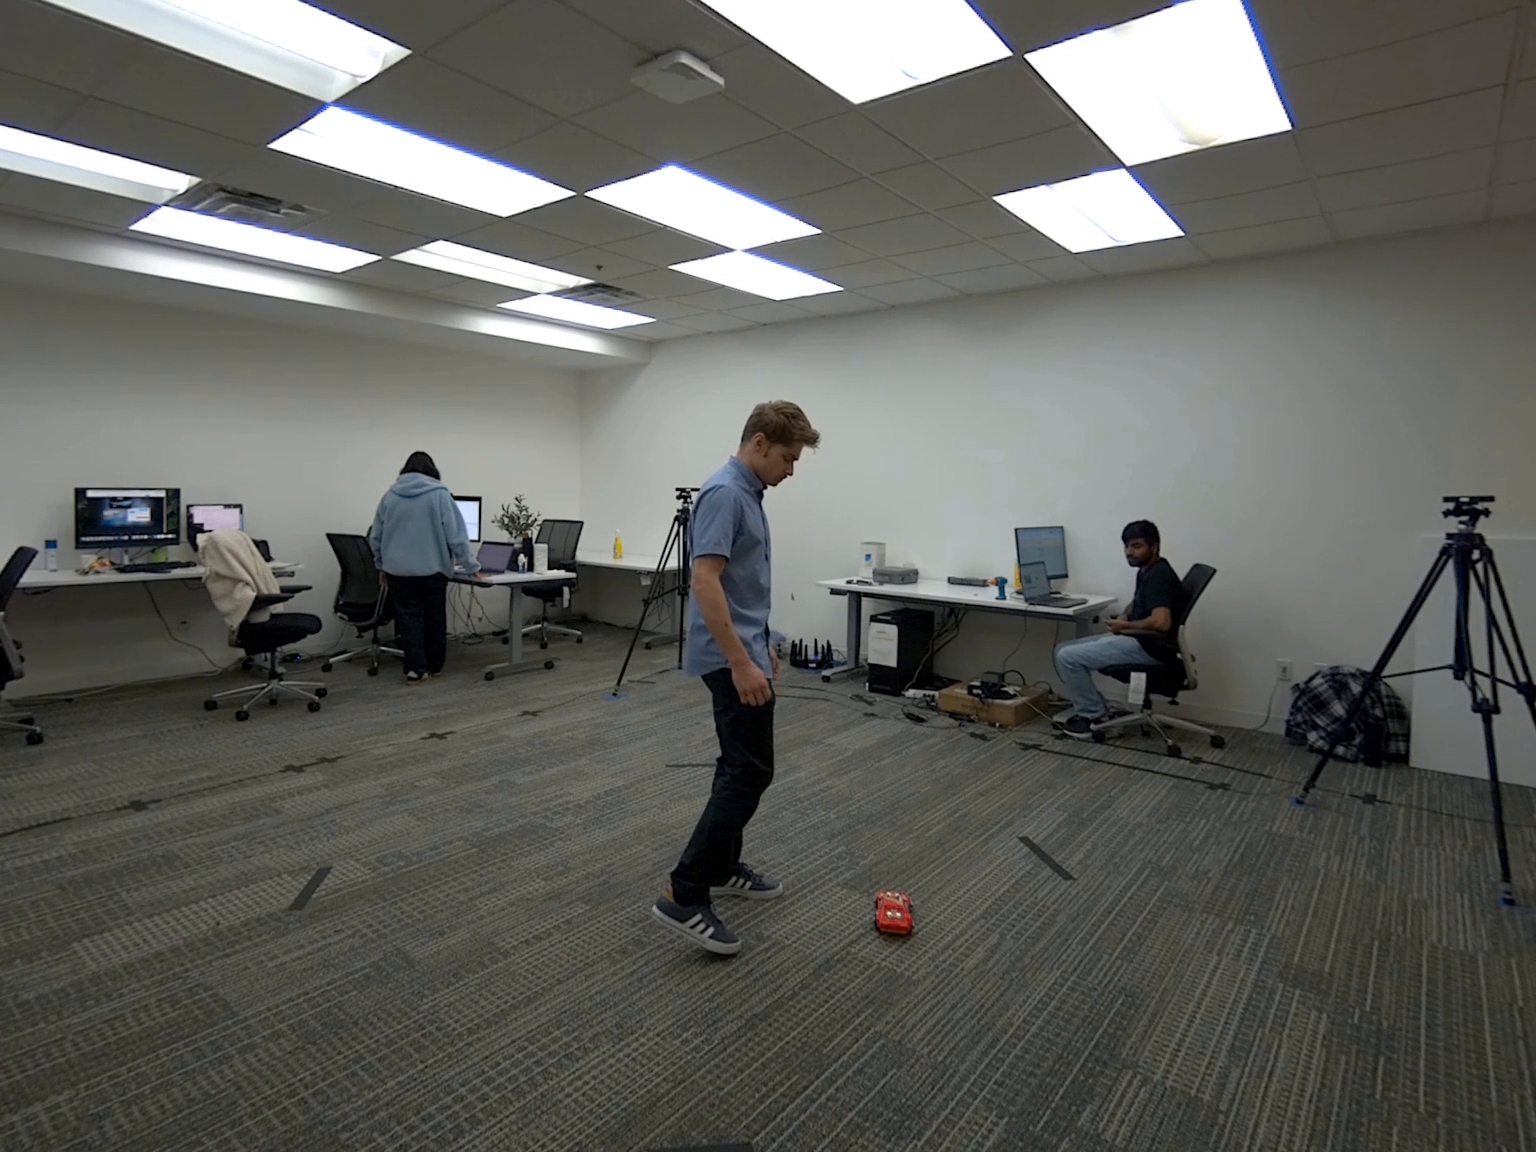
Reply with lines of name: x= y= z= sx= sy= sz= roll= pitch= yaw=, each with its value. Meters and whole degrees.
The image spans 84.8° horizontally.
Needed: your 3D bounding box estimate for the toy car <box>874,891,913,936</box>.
toy car: x=0.403 y=1.087 z=2.744 sx=0.132 sy=0.084 sz=0.250 roll=3 pitch=-5 yaw=8
